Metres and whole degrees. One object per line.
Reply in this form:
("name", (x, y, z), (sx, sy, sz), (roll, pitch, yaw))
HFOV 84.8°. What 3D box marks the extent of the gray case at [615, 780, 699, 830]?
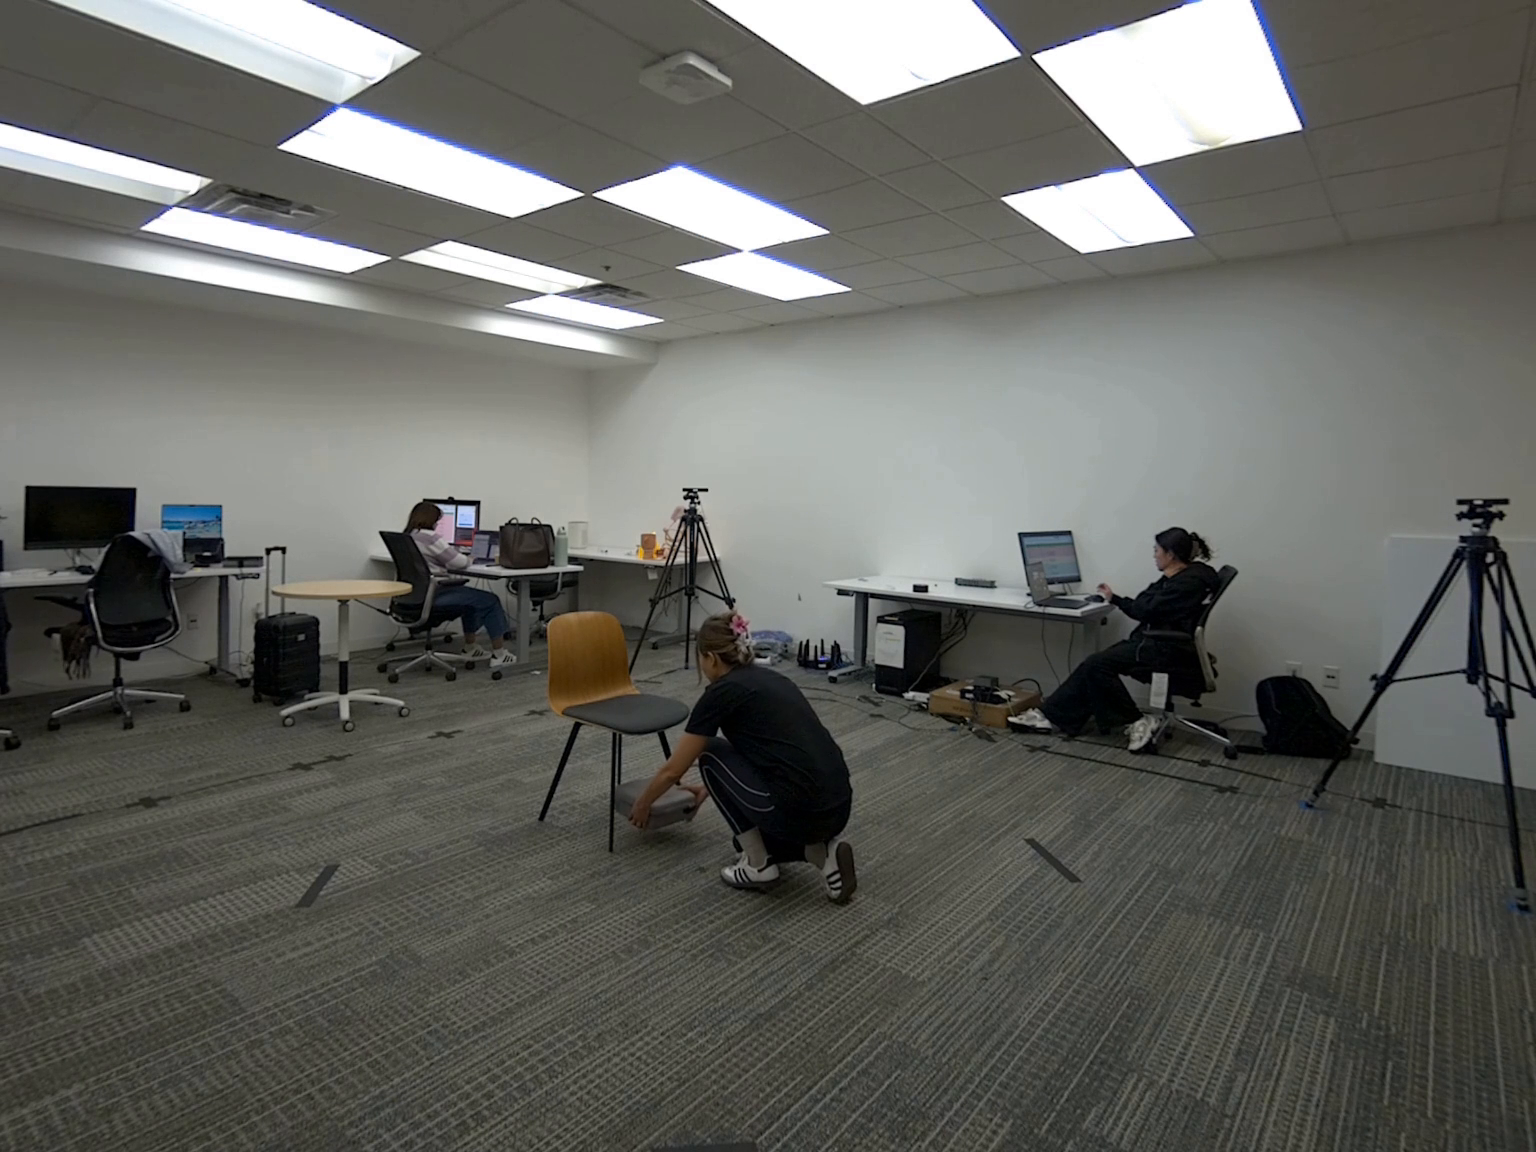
("gray case", (-0.470, 0.902, 3.402), (0.270, 0.104, 0.249), (10, 6, 37))
